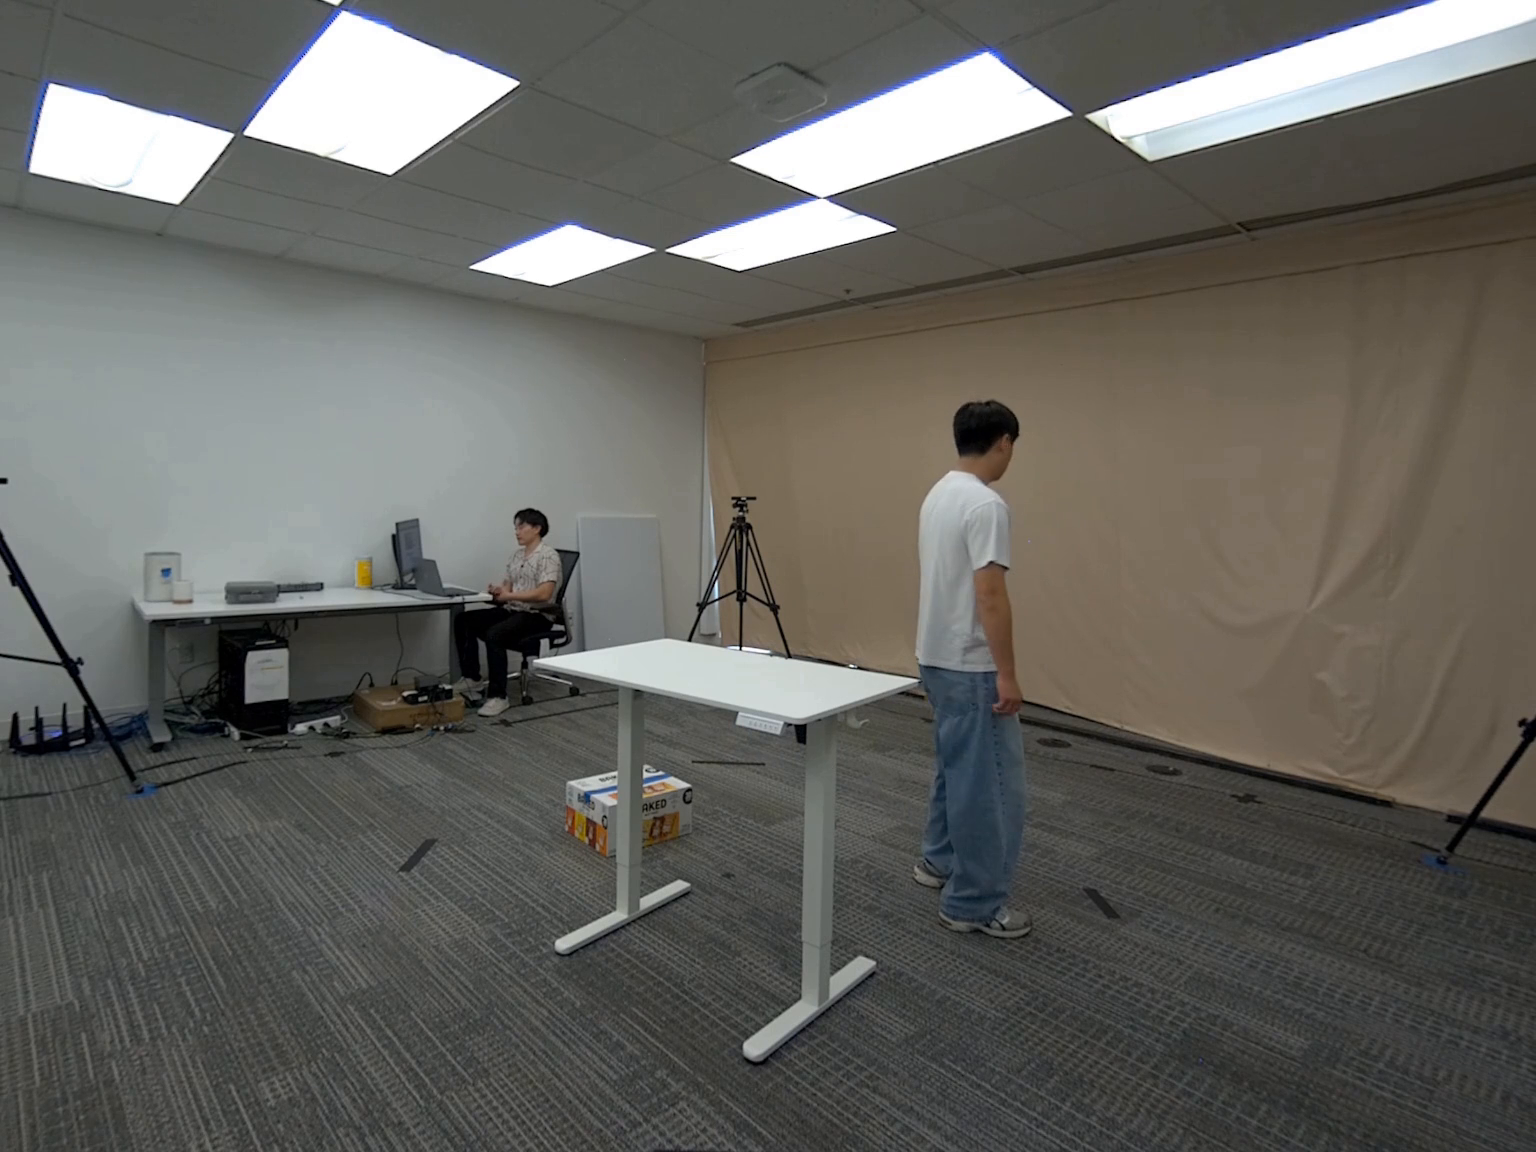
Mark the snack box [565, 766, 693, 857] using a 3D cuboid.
[{"bbox_3d":[-0.583,0.961,3.482,0.396,0.205,0.349,-3,6,-40],"label":"snack box"}]
